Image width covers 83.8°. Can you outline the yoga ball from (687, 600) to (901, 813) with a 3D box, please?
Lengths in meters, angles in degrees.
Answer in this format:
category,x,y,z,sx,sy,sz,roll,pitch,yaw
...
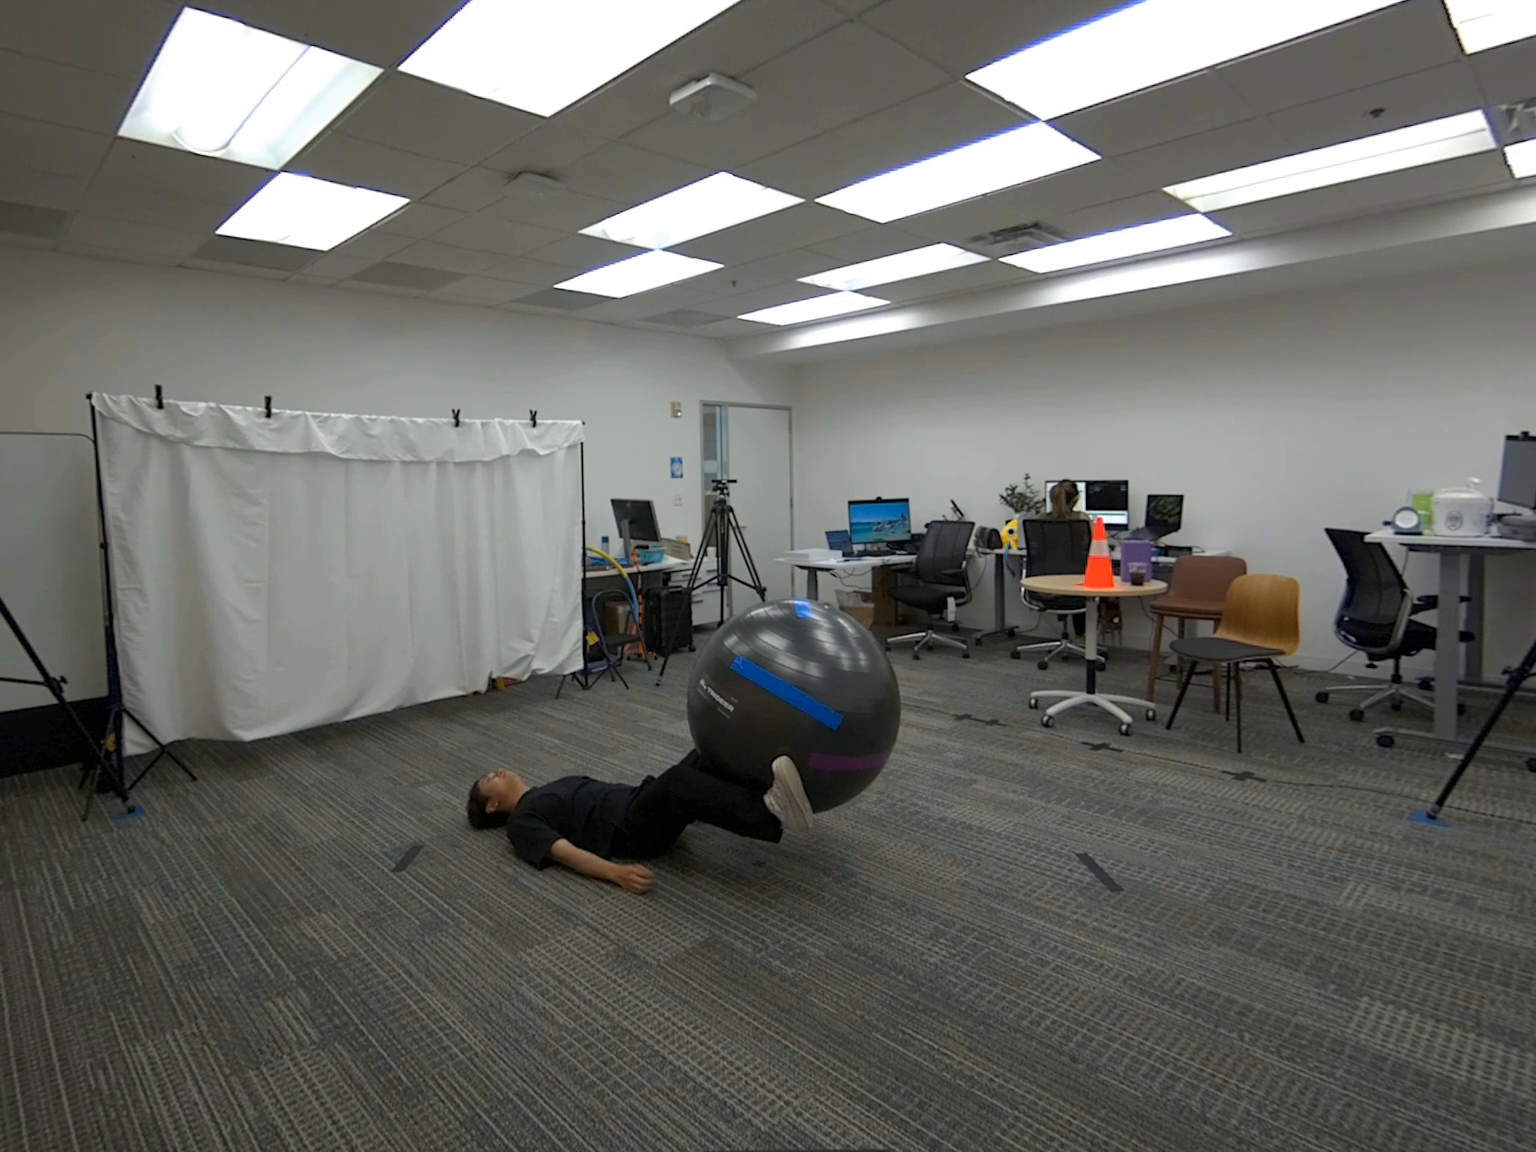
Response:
category,x,y,z,sx,sy,sz,roll,pitch,yaw
yoga ball,0.089,0.465,3.069,0.757,0.755,0.762,-1,5,-2
